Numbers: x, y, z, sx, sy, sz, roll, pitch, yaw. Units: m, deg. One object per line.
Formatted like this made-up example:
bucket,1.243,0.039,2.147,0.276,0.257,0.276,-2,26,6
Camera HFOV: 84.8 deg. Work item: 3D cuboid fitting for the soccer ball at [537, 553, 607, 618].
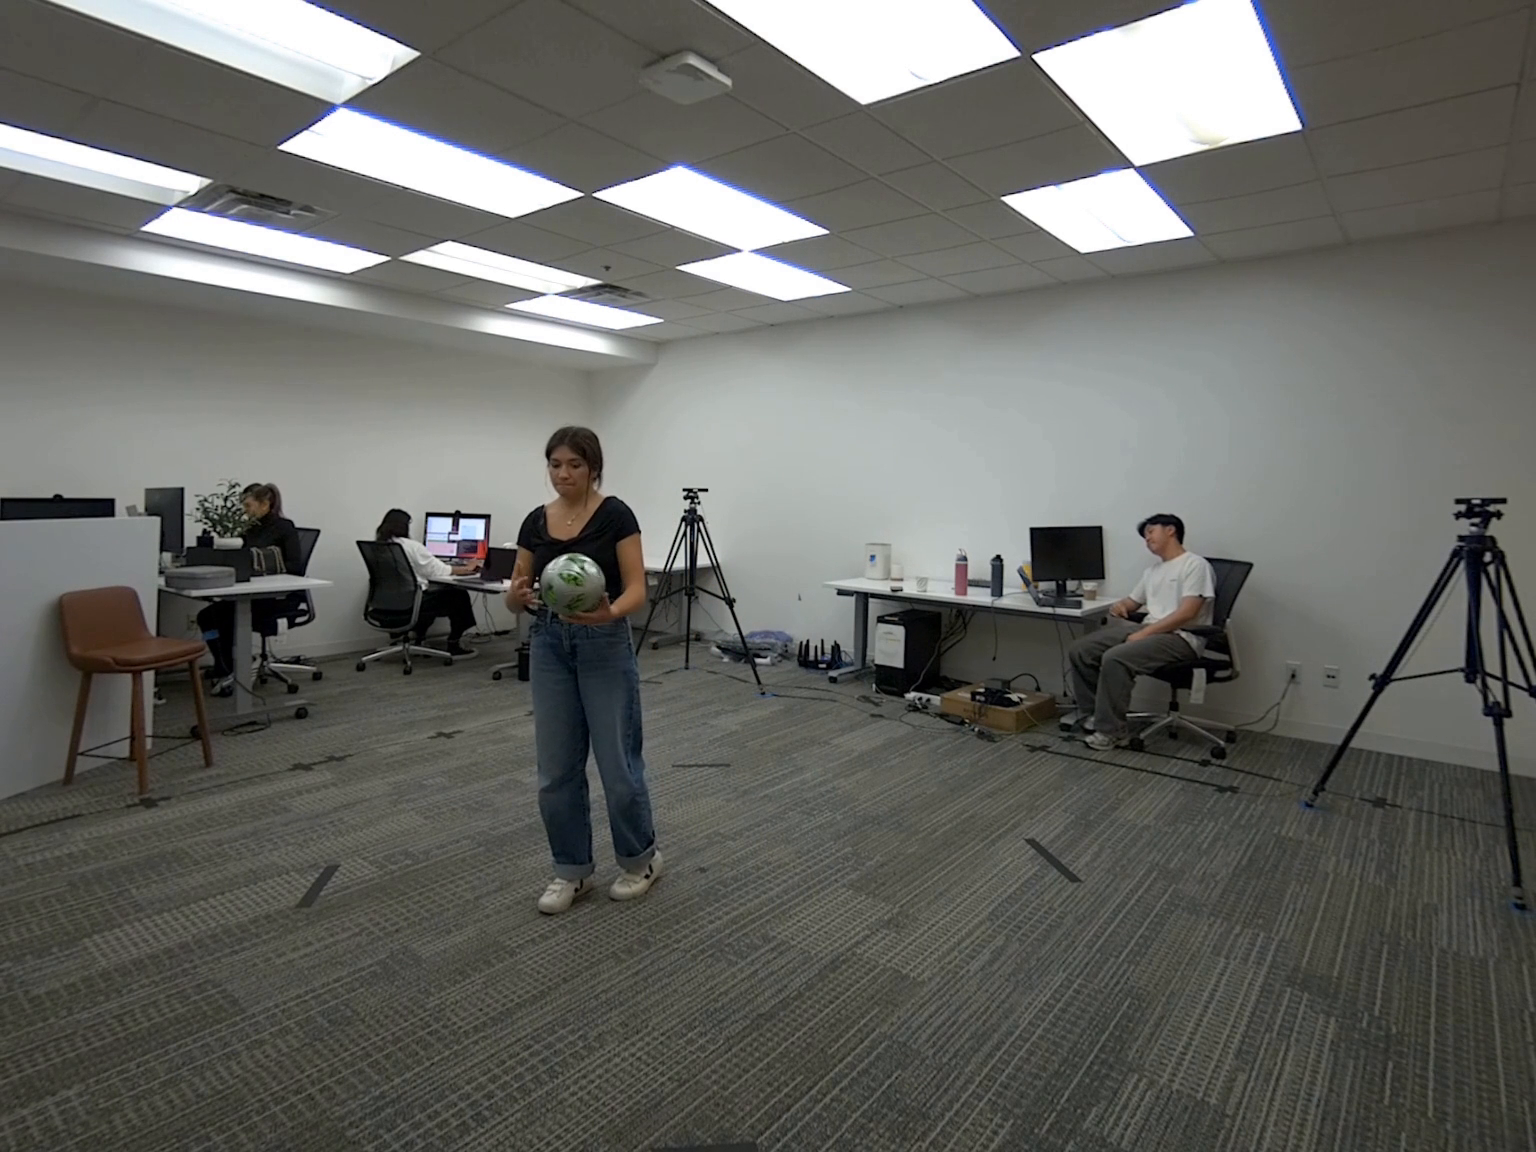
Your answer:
soccer ball,-0.586,0.032,2.521,0.187,0.187,0.188,1,4,-2
